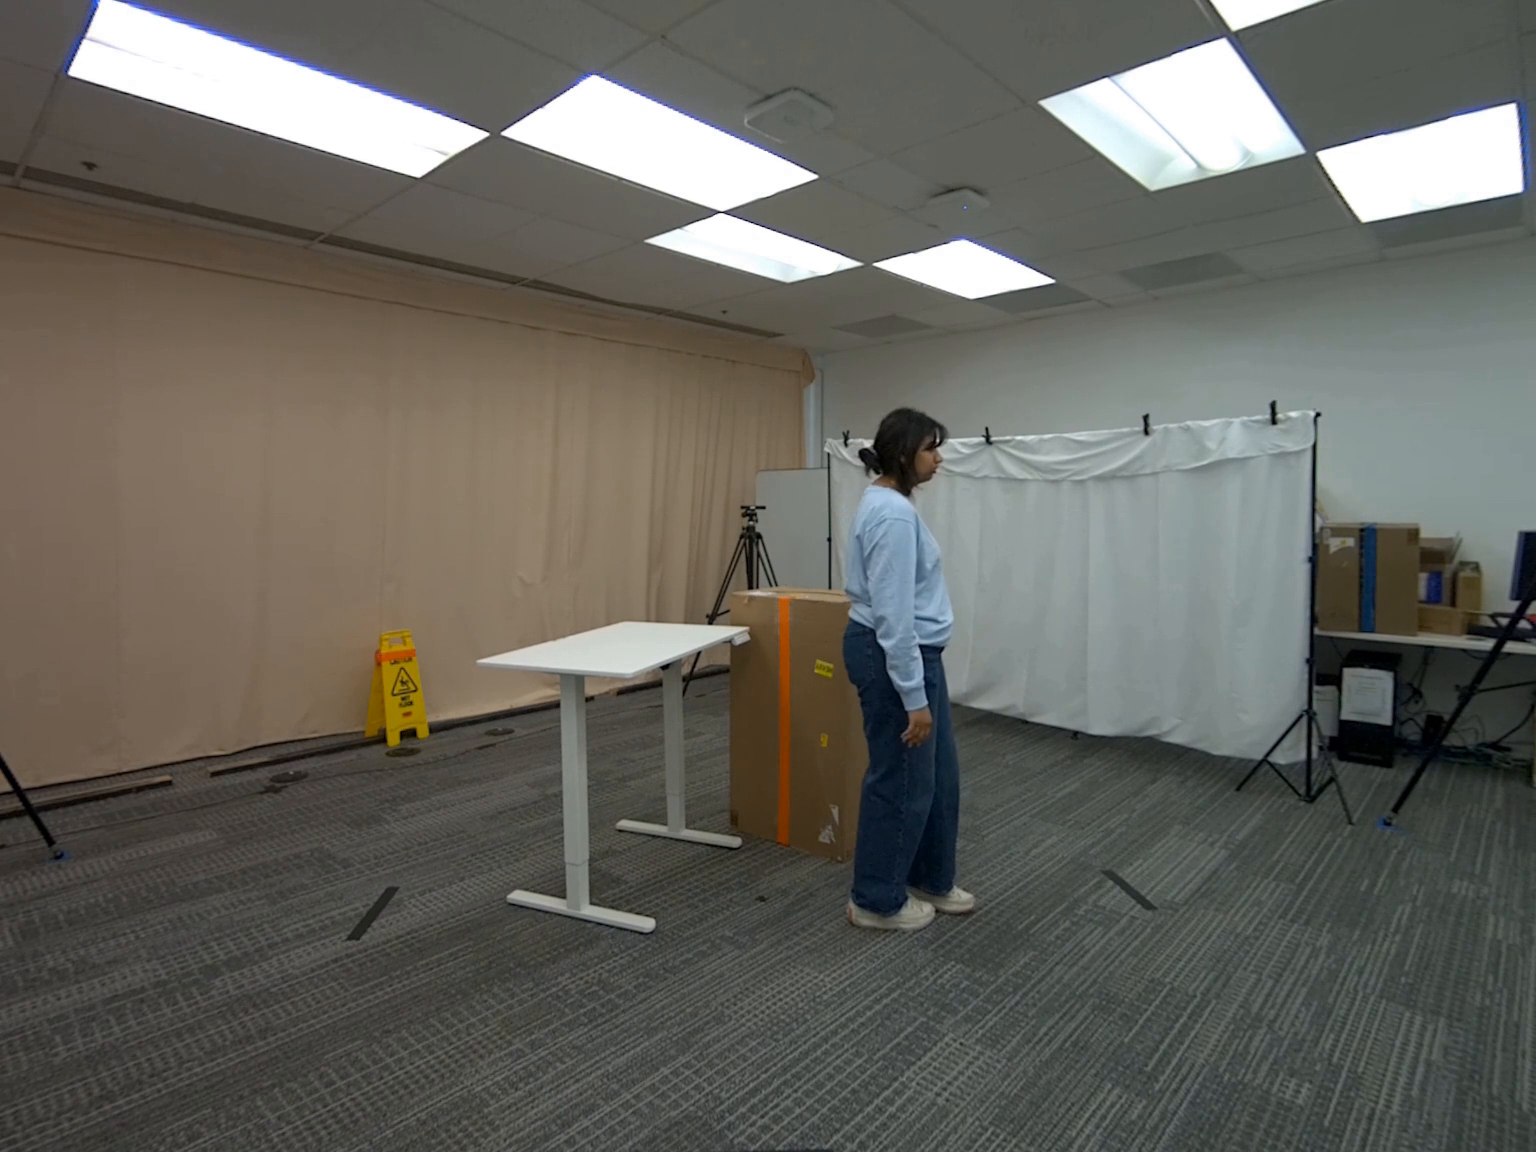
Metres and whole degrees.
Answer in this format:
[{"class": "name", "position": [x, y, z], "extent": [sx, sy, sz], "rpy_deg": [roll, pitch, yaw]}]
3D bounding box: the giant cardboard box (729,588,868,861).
[{"class": "giant cardboard box", "position": [0.188, 0.584, 3.592], "extent": [0.596, 1.024, 0.413], "rpy_deg": [3, 4, 38]}]
